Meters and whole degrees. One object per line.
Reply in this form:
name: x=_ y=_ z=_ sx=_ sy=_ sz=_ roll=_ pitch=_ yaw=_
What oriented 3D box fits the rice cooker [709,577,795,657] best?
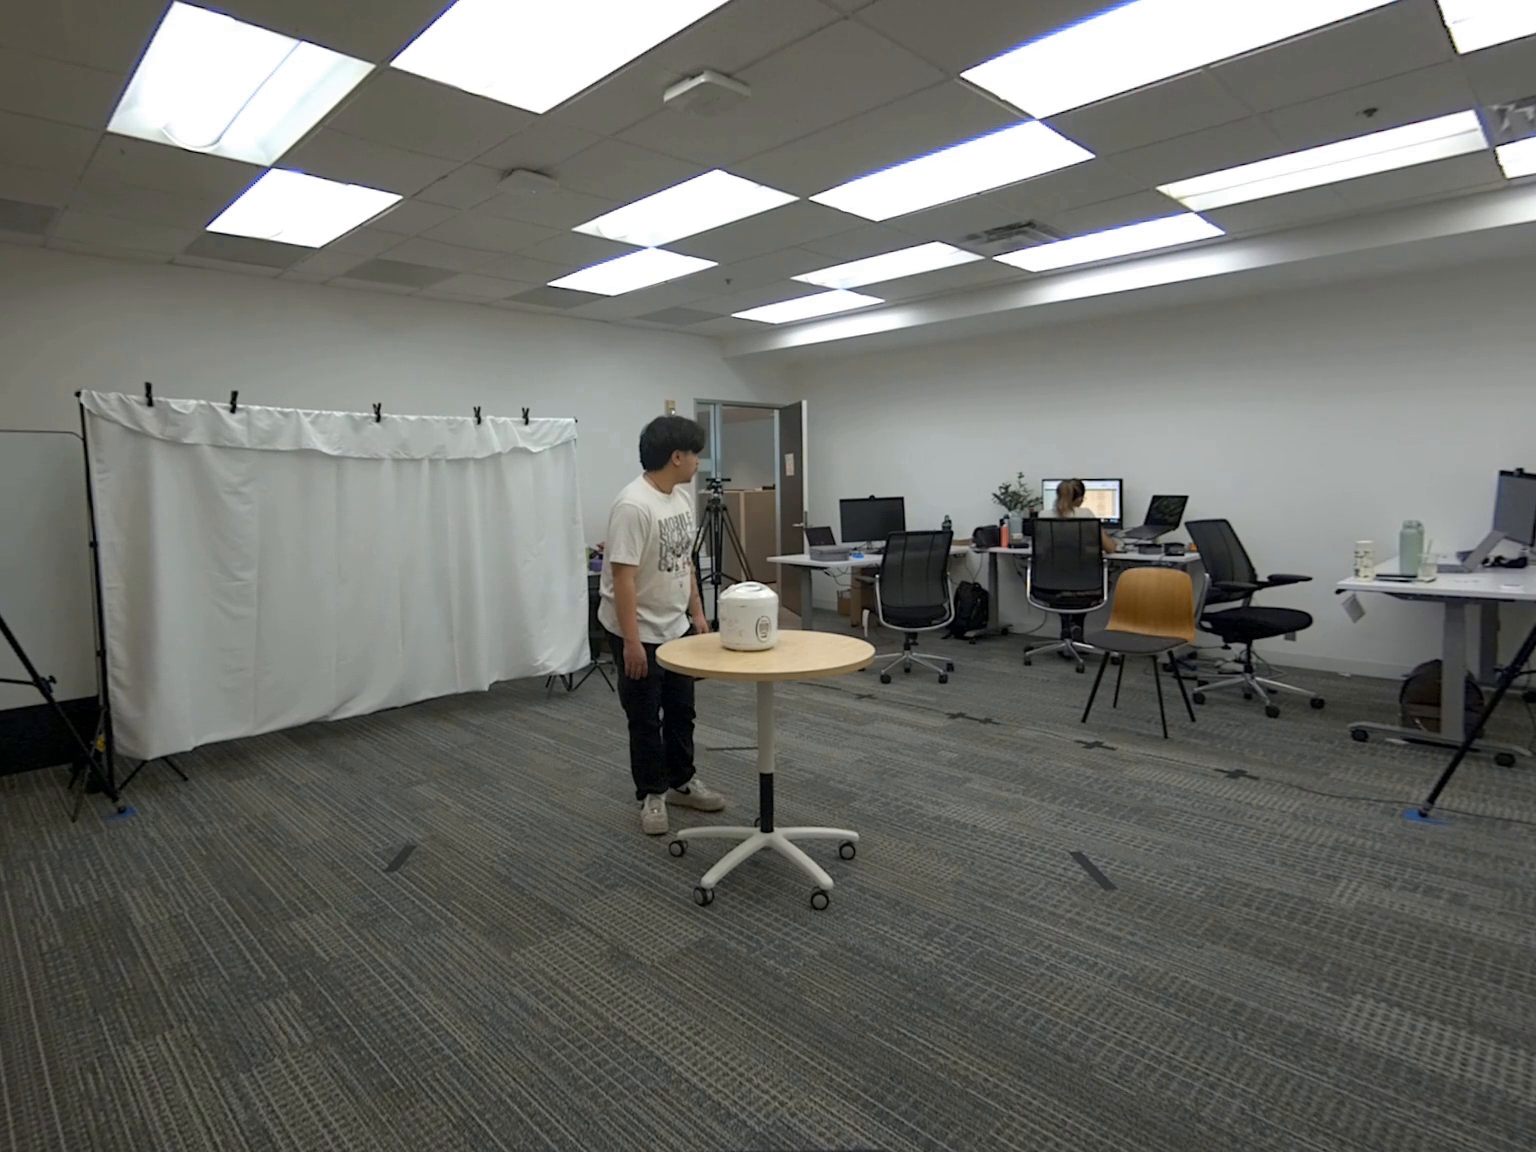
rice cooker: x=-0.060 y=0.137 z=3.027 sx=0.215 sy=0.232 sz=0.223 roll=-4 pitch=5 yaw=-29
